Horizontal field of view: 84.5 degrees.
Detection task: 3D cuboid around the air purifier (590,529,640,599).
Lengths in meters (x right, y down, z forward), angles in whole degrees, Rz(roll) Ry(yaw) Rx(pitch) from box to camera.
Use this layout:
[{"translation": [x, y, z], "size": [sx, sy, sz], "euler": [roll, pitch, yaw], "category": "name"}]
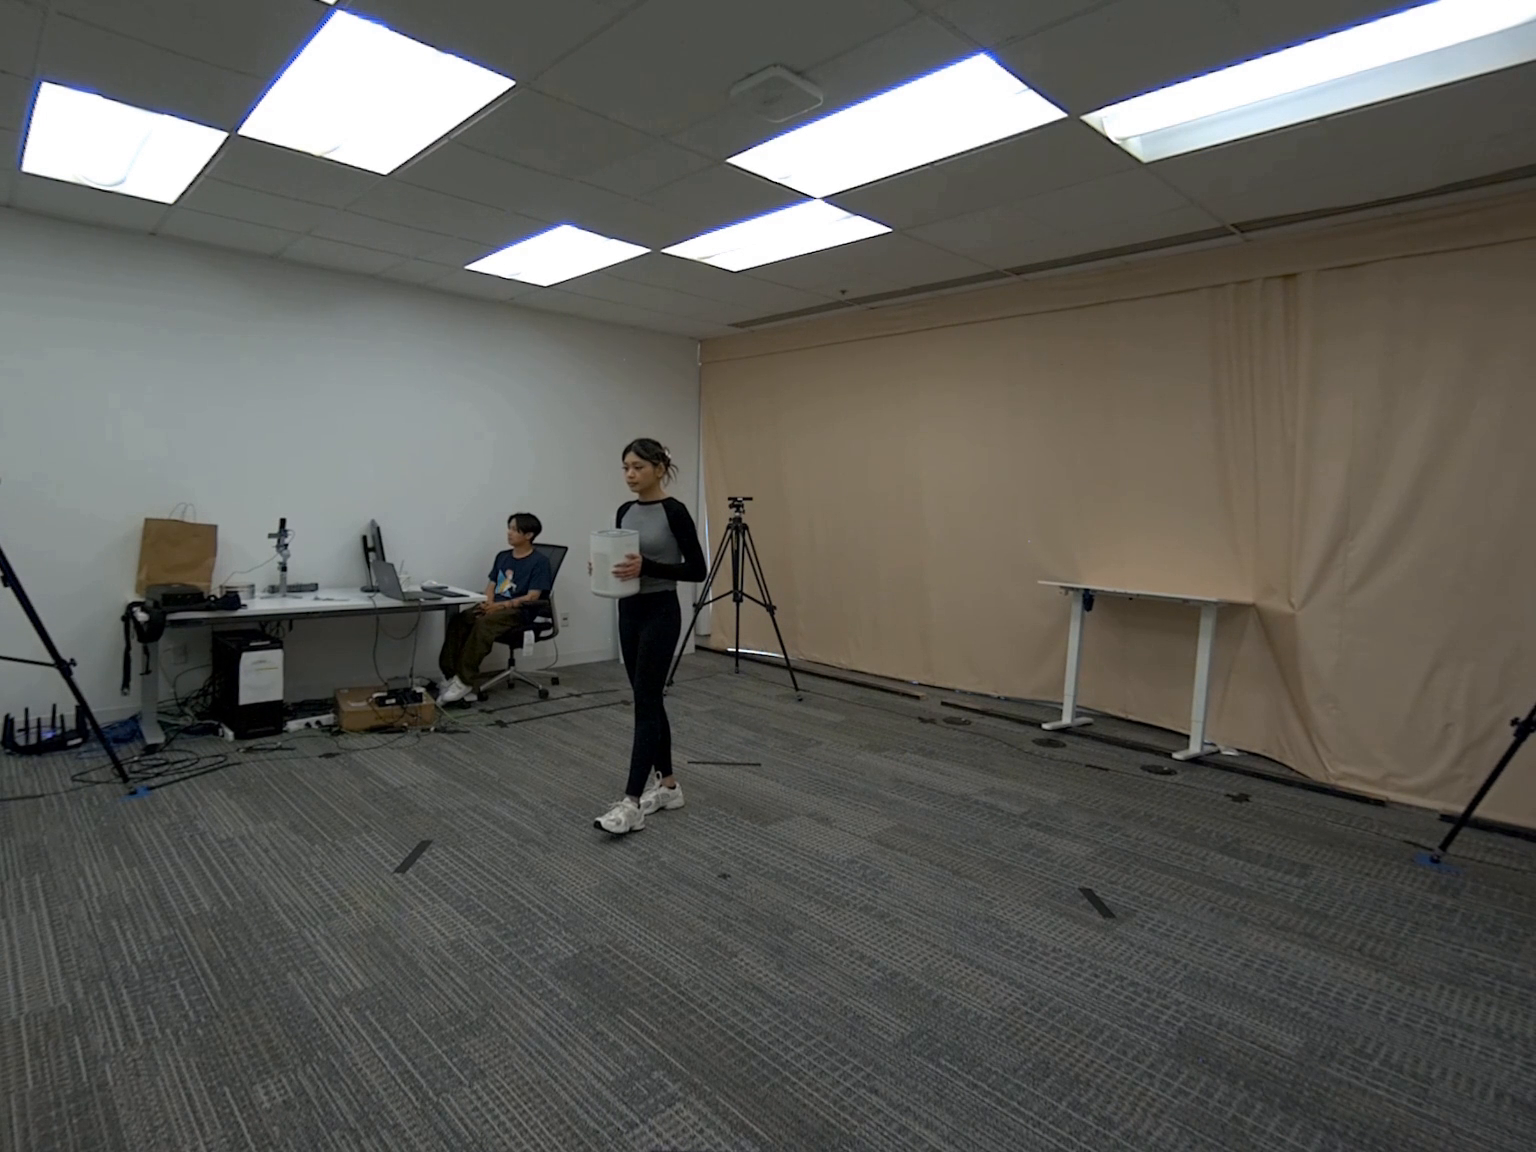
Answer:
[{"translation": [-0.644, -0.052, 3.485], "size": [0.175, 0.263, 0.168], "euler": [5, 10, 31], "category": "air purifier"}]
